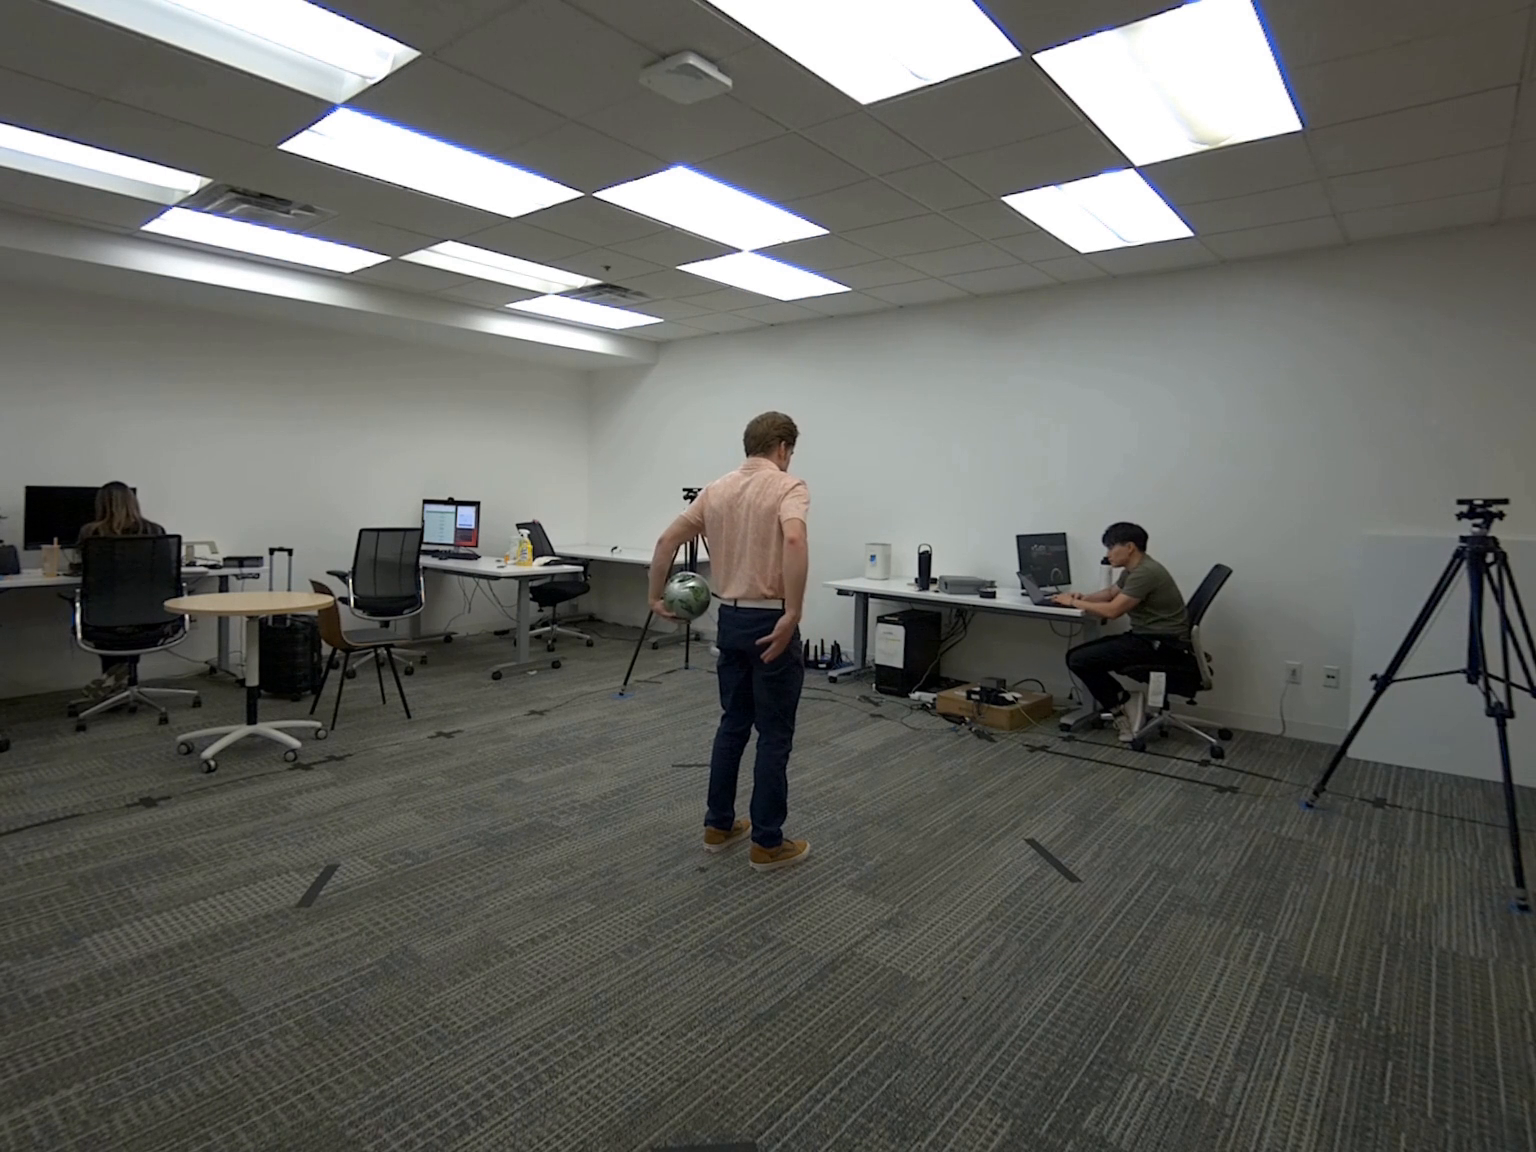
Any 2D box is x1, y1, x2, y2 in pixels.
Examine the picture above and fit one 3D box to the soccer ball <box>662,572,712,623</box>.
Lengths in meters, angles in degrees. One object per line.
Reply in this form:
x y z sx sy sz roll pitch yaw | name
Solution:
-0.318 0.078 3.297 0.187 0.187 0.188 1 4 -2 | soccer ball
